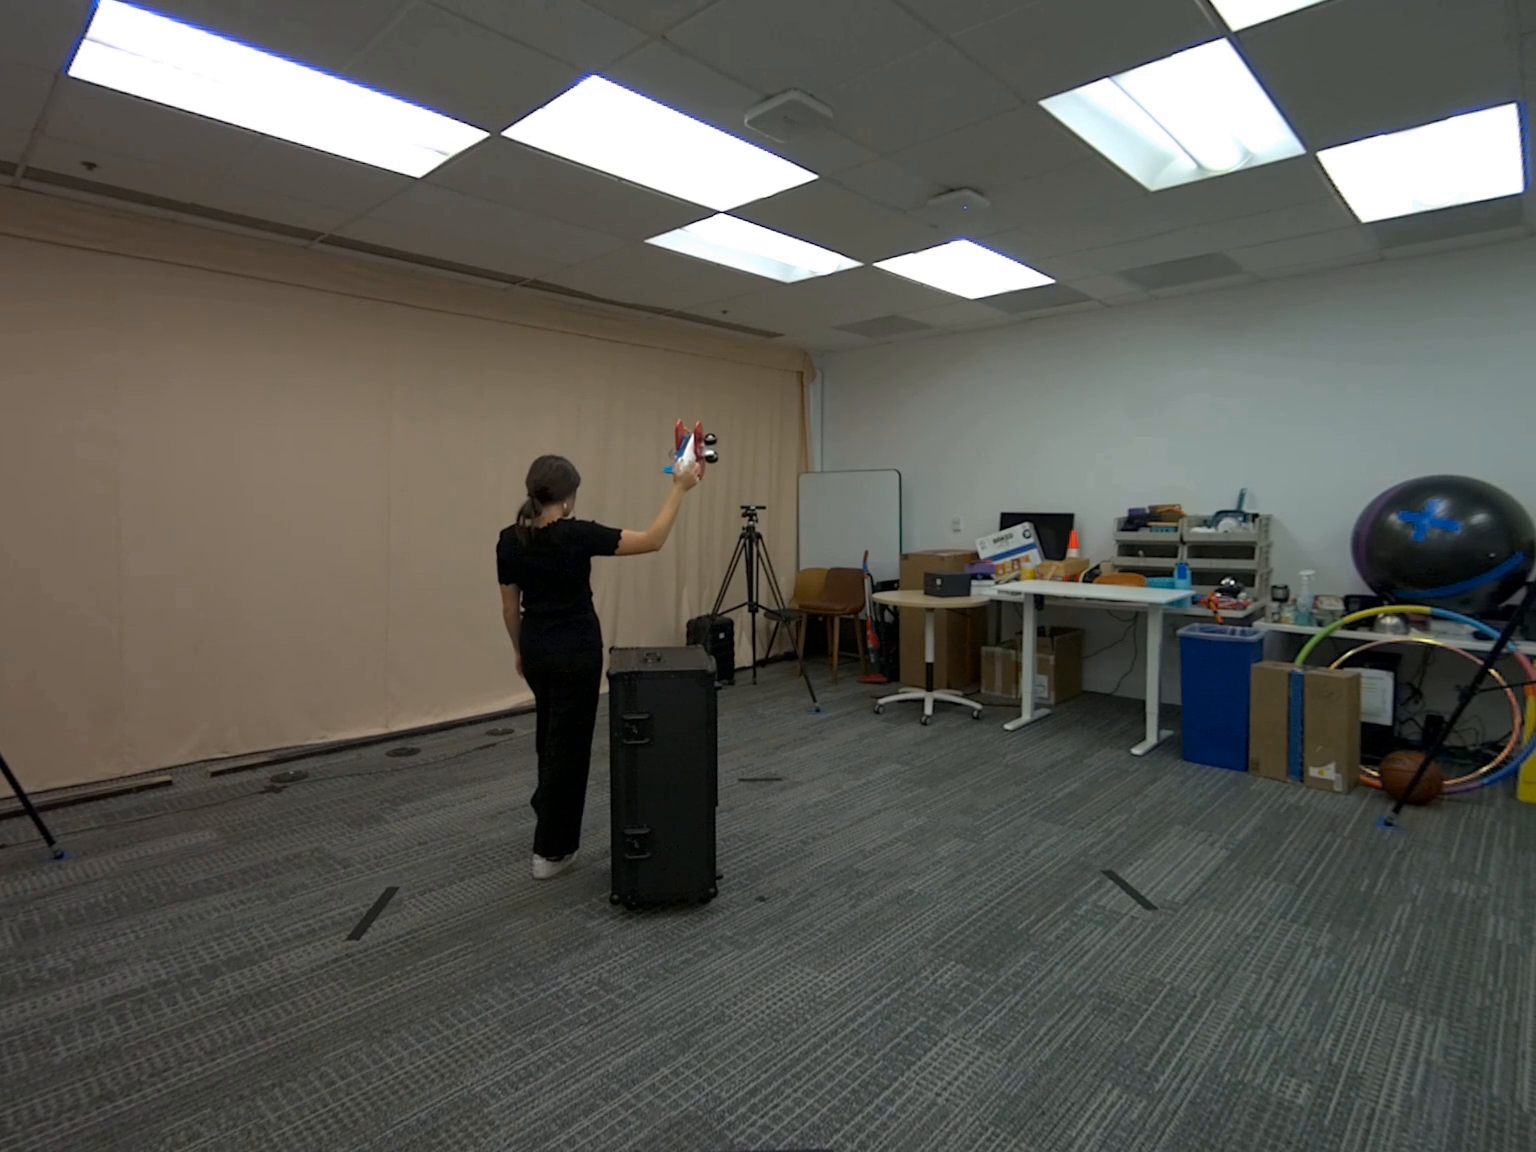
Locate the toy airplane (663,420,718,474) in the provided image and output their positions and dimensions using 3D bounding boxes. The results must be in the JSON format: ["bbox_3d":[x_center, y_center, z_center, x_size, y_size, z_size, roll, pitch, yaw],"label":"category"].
[{"bbox_3d":[-0.302,-0.489,3.308,0.160,0.249,0.255,15,16,19],"label":"toy airplane"}]
